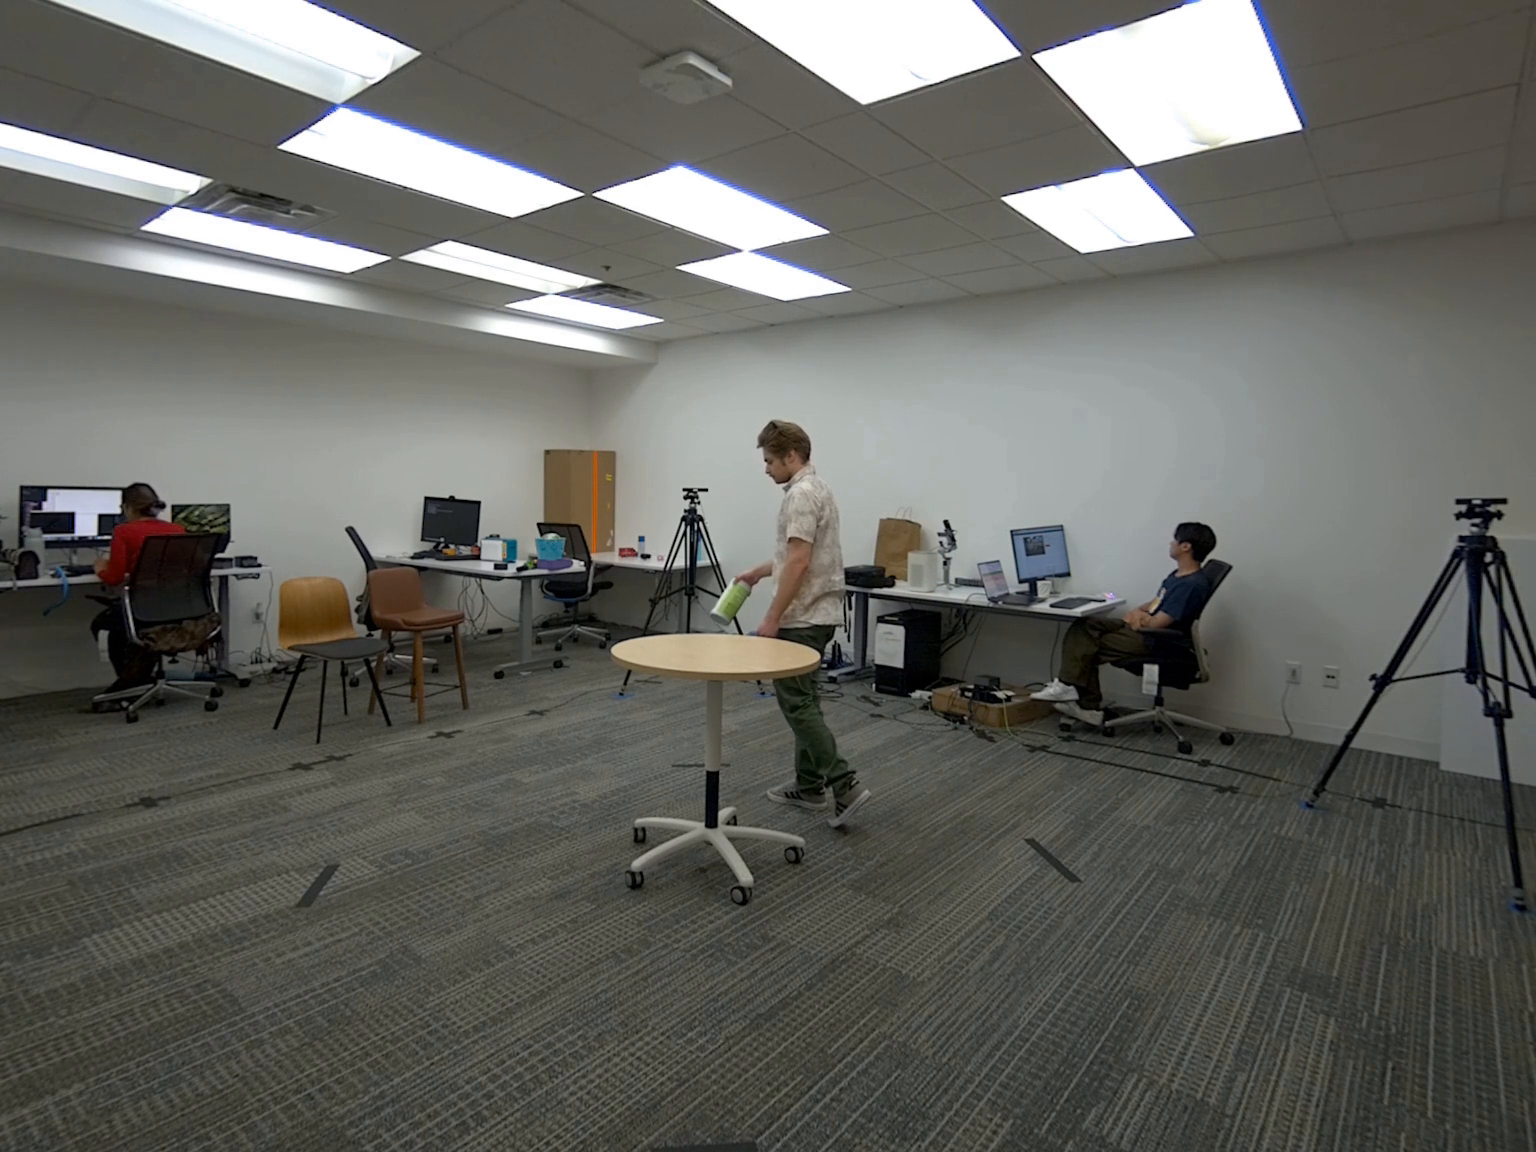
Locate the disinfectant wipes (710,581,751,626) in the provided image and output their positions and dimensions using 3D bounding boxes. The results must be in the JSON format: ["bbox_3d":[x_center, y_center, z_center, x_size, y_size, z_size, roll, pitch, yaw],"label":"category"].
[{"bbox_3d":[-0.190,0.118,4.066,0.119,0.218,0.115,30,-19,9],"label":"disinfectant wipes"}]
